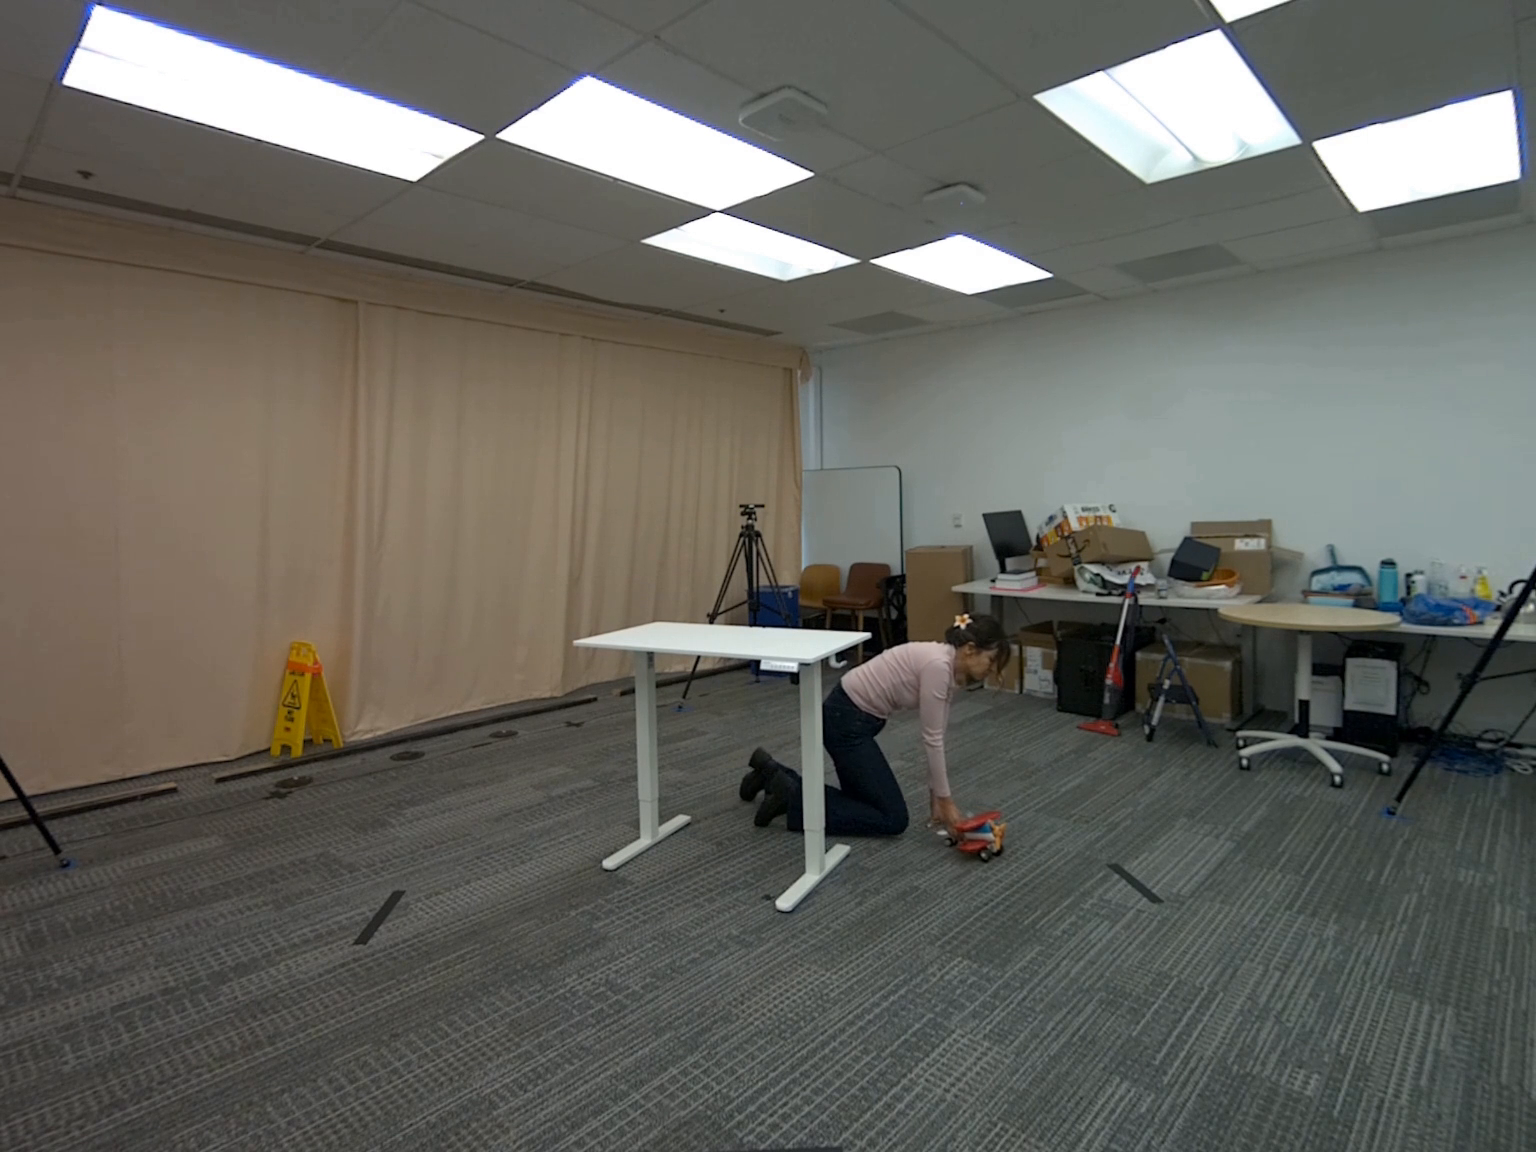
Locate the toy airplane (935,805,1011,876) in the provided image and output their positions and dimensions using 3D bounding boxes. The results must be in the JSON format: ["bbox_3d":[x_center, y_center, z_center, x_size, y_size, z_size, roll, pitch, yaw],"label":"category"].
[{"bbox_3d":[0.803,1.021,3.316,0.265,0.156,0.246,1,4,20],"label":"toy airplane"}]
